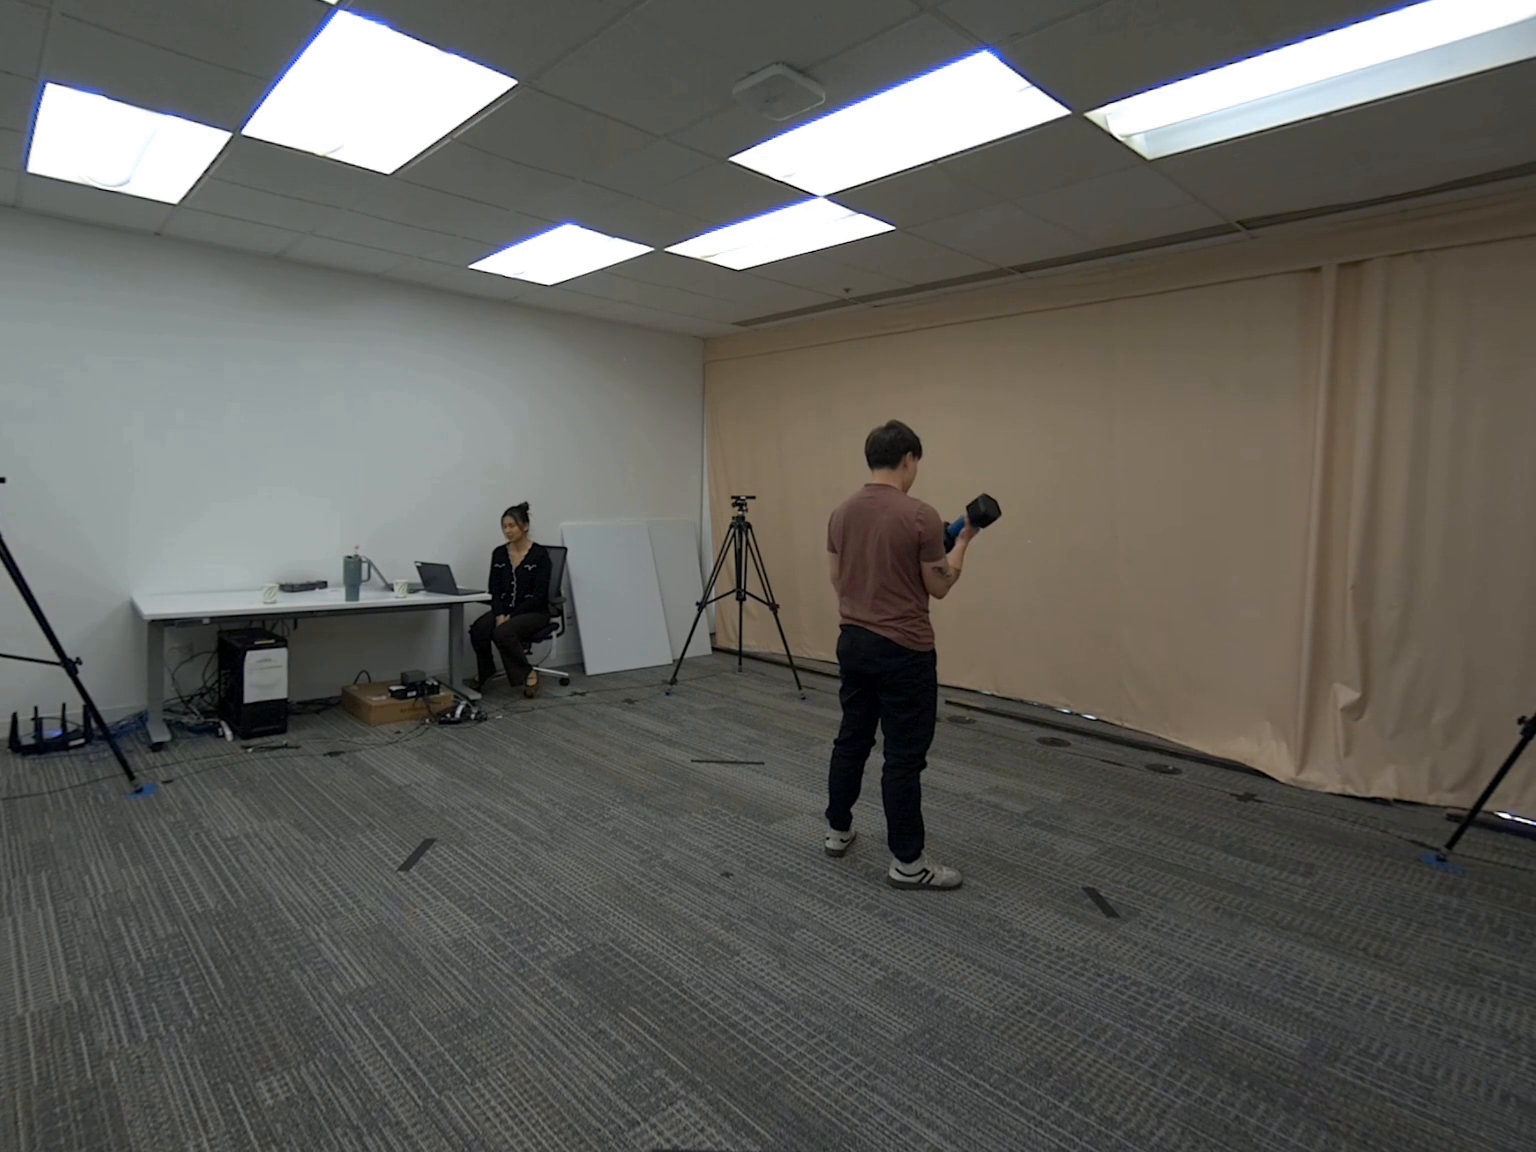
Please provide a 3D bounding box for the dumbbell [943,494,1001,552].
[{"bbox_3d":[0.736,-0.184,3.203,0.121,0.110,0.294,32,-41,-16],"label":"dumbbell"}]
